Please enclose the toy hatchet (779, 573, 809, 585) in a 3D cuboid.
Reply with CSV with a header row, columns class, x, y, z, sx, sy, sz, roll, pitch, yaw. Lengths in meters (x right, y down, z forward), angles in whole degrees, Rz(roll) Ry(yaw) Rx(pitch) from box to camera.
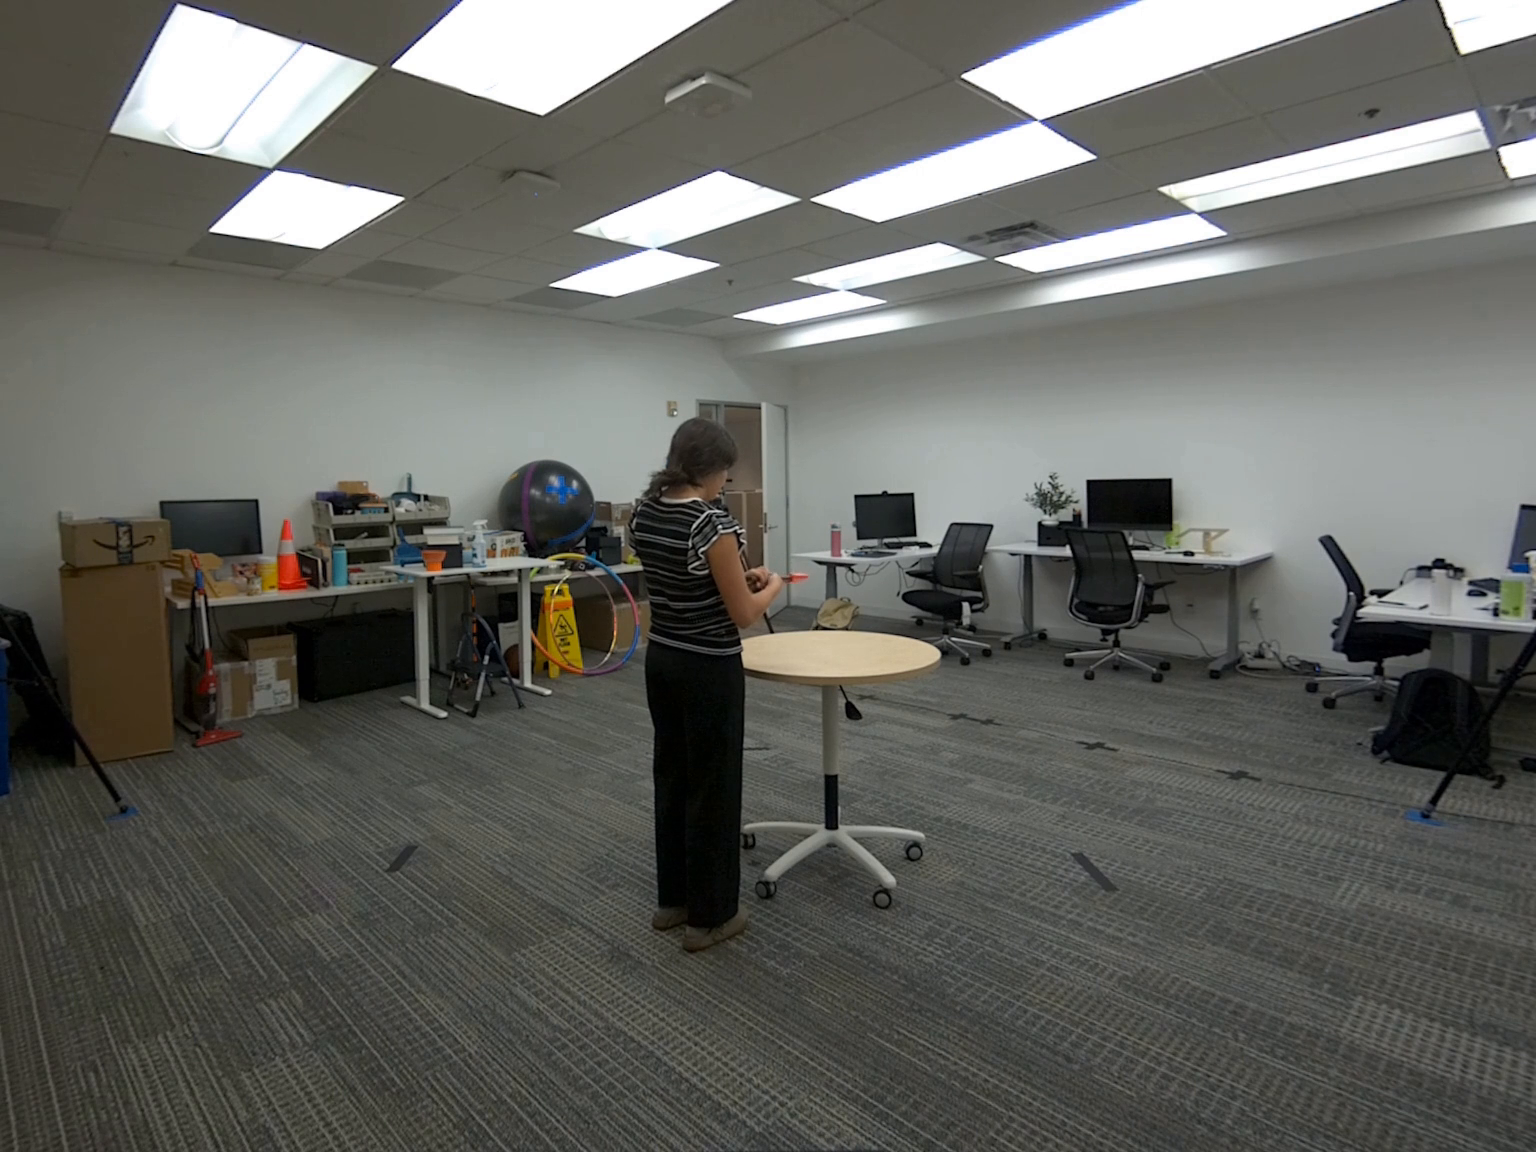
class,x,y,z,sx,sy,sz,roll,pitch,yaw
toy hatchet,0.032,0.010,2.763,0.134,0.029,0.263,-7,-1,37
